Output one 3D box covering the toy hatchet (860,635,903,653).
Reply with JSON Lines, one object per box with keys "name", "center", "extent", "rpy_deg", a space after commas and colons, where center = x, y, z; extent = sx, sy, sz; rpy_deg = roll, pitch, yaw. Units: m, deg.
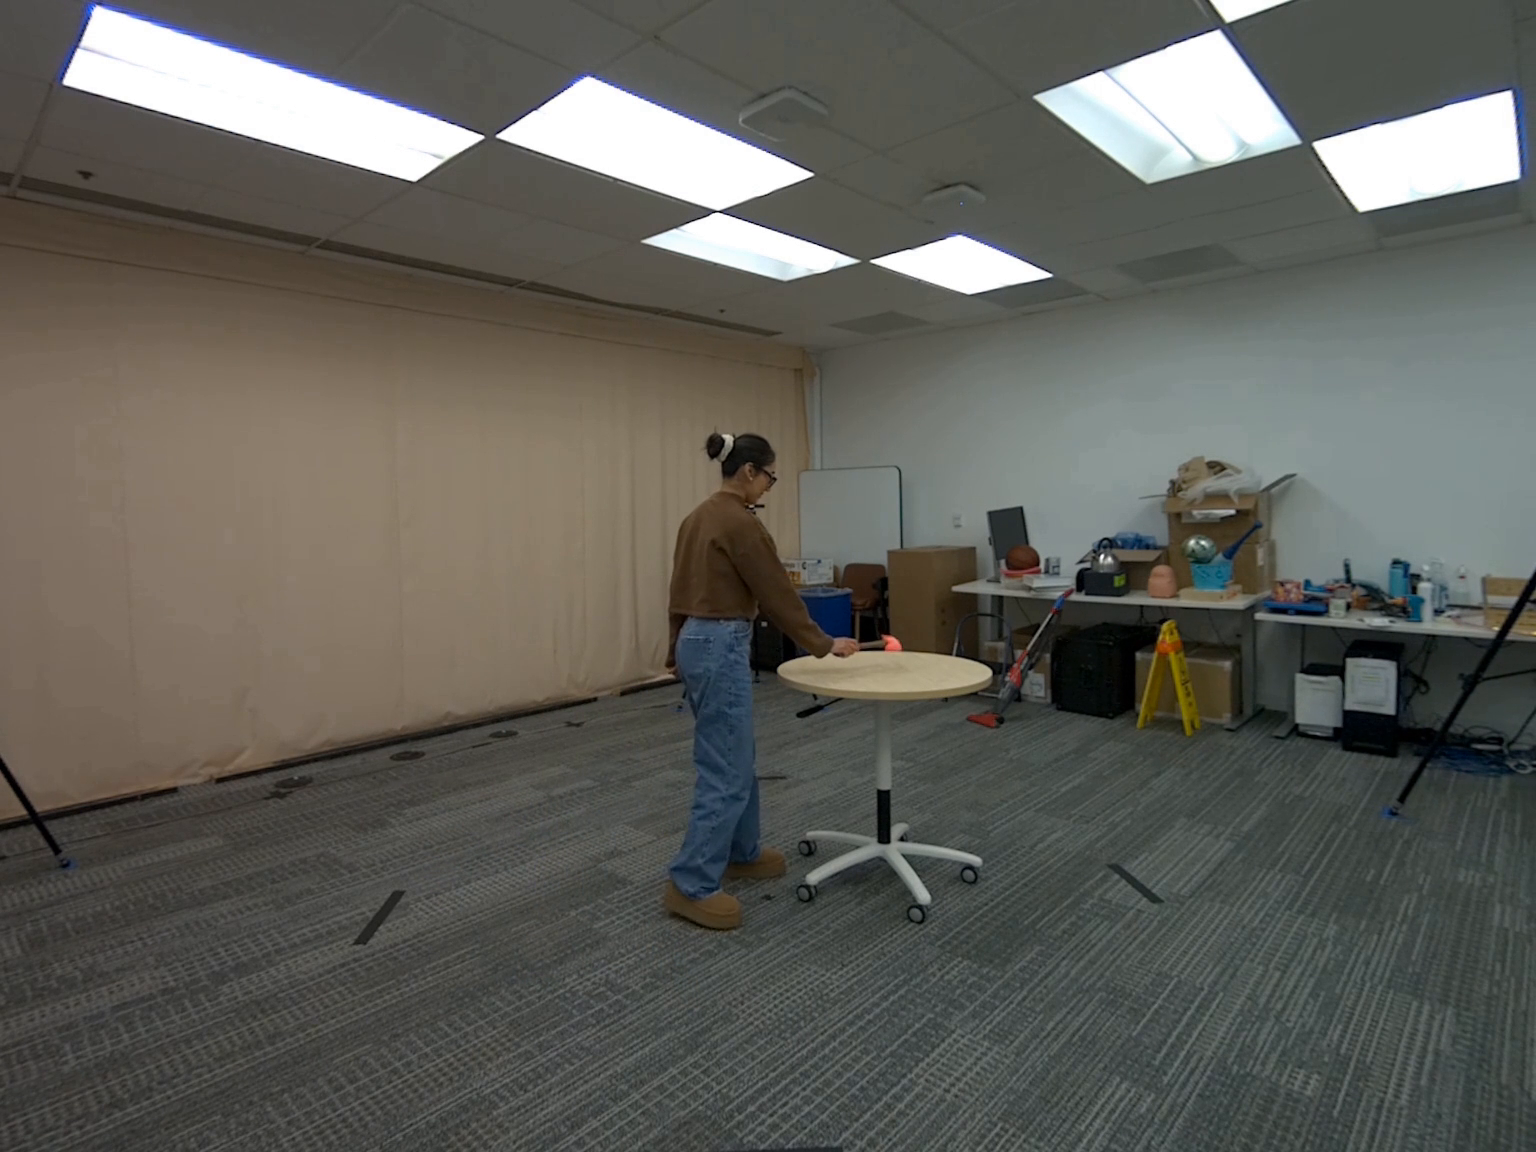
{"name": "toy hatchet", "center": [0.350, 0.243, 3.035], "extent": [0.269, 0.029, 0.133], "rpy_deg": [-1, 19, -4]}
